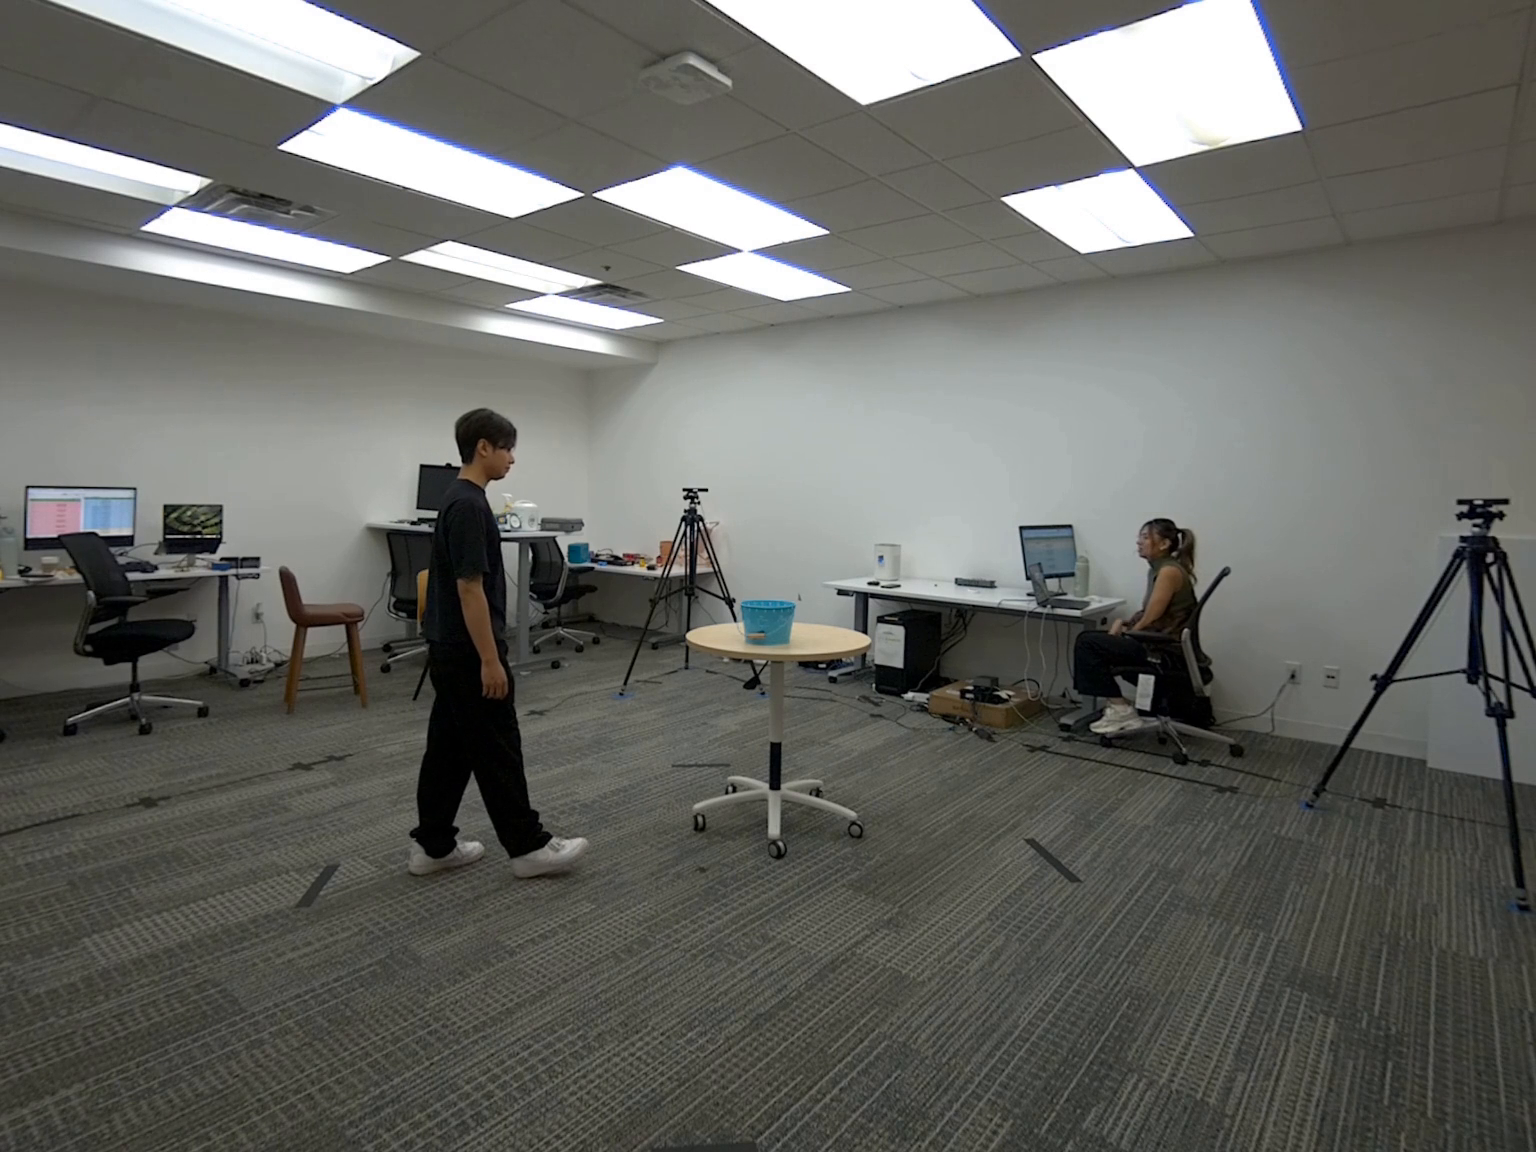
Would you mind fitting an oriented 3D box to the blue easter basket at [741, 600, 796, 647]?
[{"bbox_3d":[-0.016,0.187,3.441,0.243,0.155,0.245,1,5,-2],"label":"blue easter basket"}]
